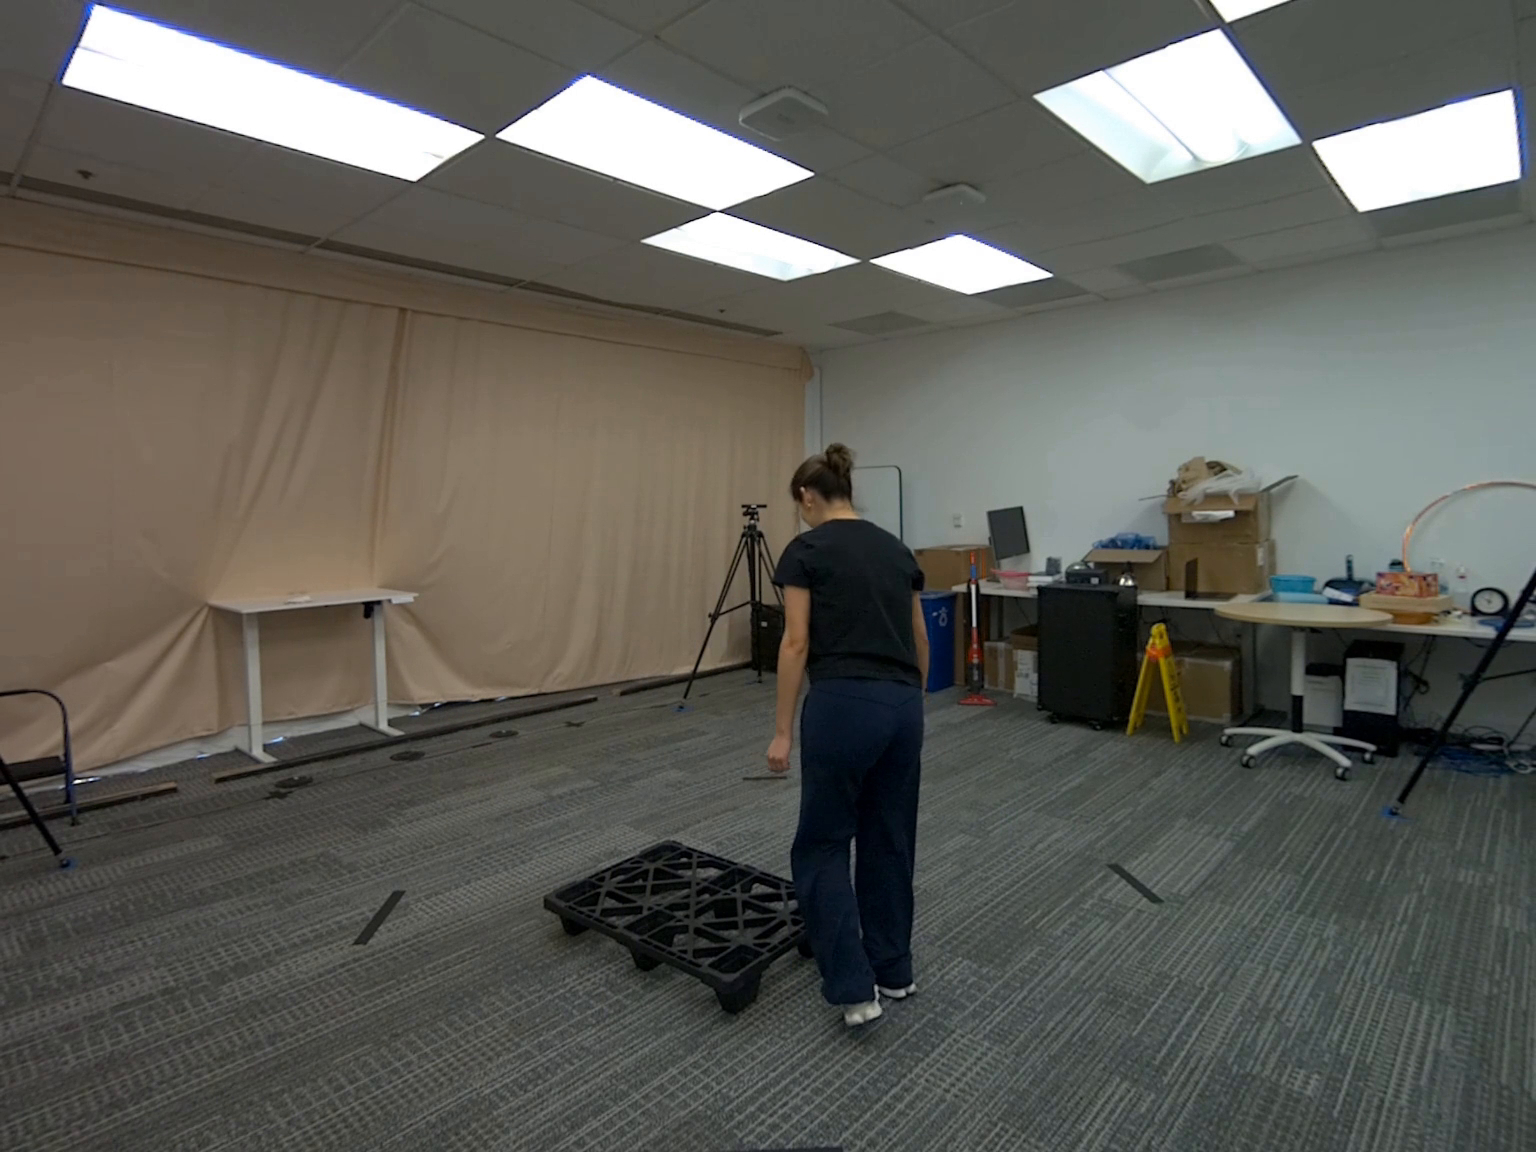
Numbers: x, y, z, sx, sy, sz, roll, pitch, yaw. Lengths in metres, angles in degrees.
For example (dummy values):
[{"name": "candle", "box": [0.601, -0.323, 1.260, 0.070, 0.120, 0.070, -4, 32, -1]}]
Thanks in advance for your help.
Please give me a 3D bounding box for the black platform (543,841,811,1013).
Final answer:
[{"name": "black platform", "box": [-0.224, 1.104, 2.703, 0.832, 0.143, 0.587, 2, 7, 39]}]
